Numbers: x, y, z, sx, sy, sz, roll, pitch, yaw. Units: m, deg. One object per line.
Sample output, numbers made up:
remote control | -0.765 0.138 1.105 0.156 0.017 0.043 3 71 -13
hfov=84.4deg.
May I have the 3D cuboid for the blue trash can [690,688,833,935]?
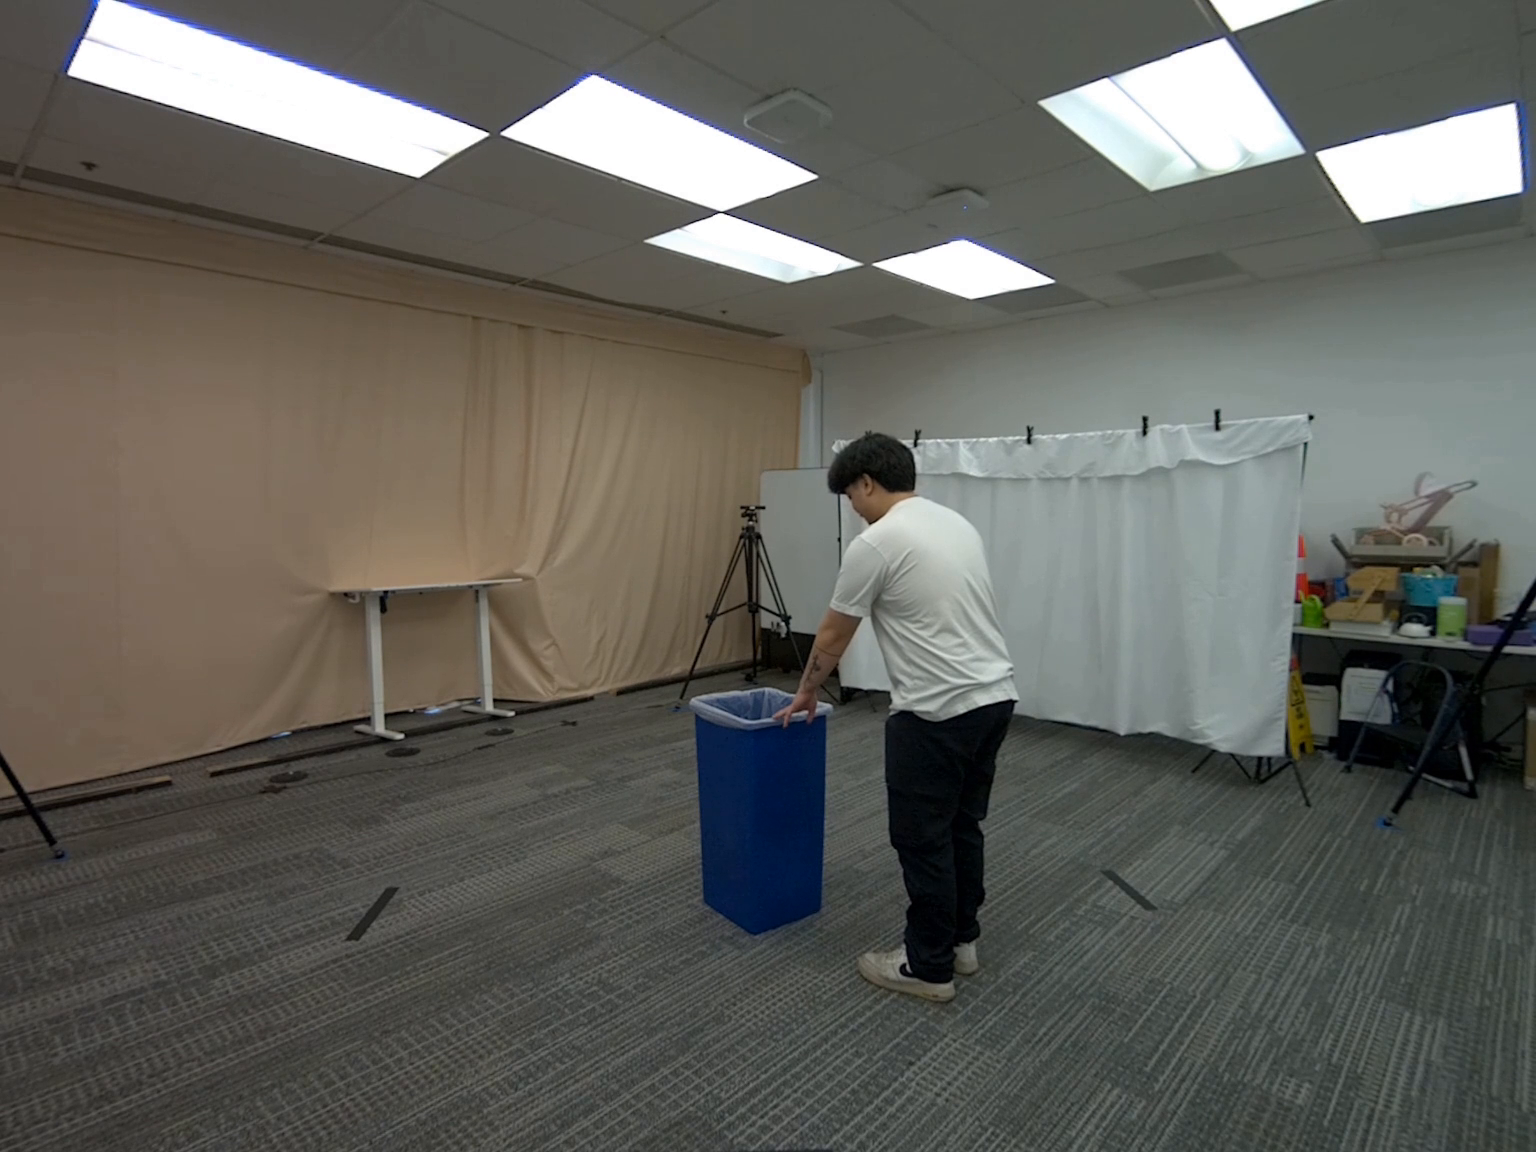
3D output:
blue trash can | -0.027 0.791 2.906 0.363 0.712 0.390 -2 4 -37
